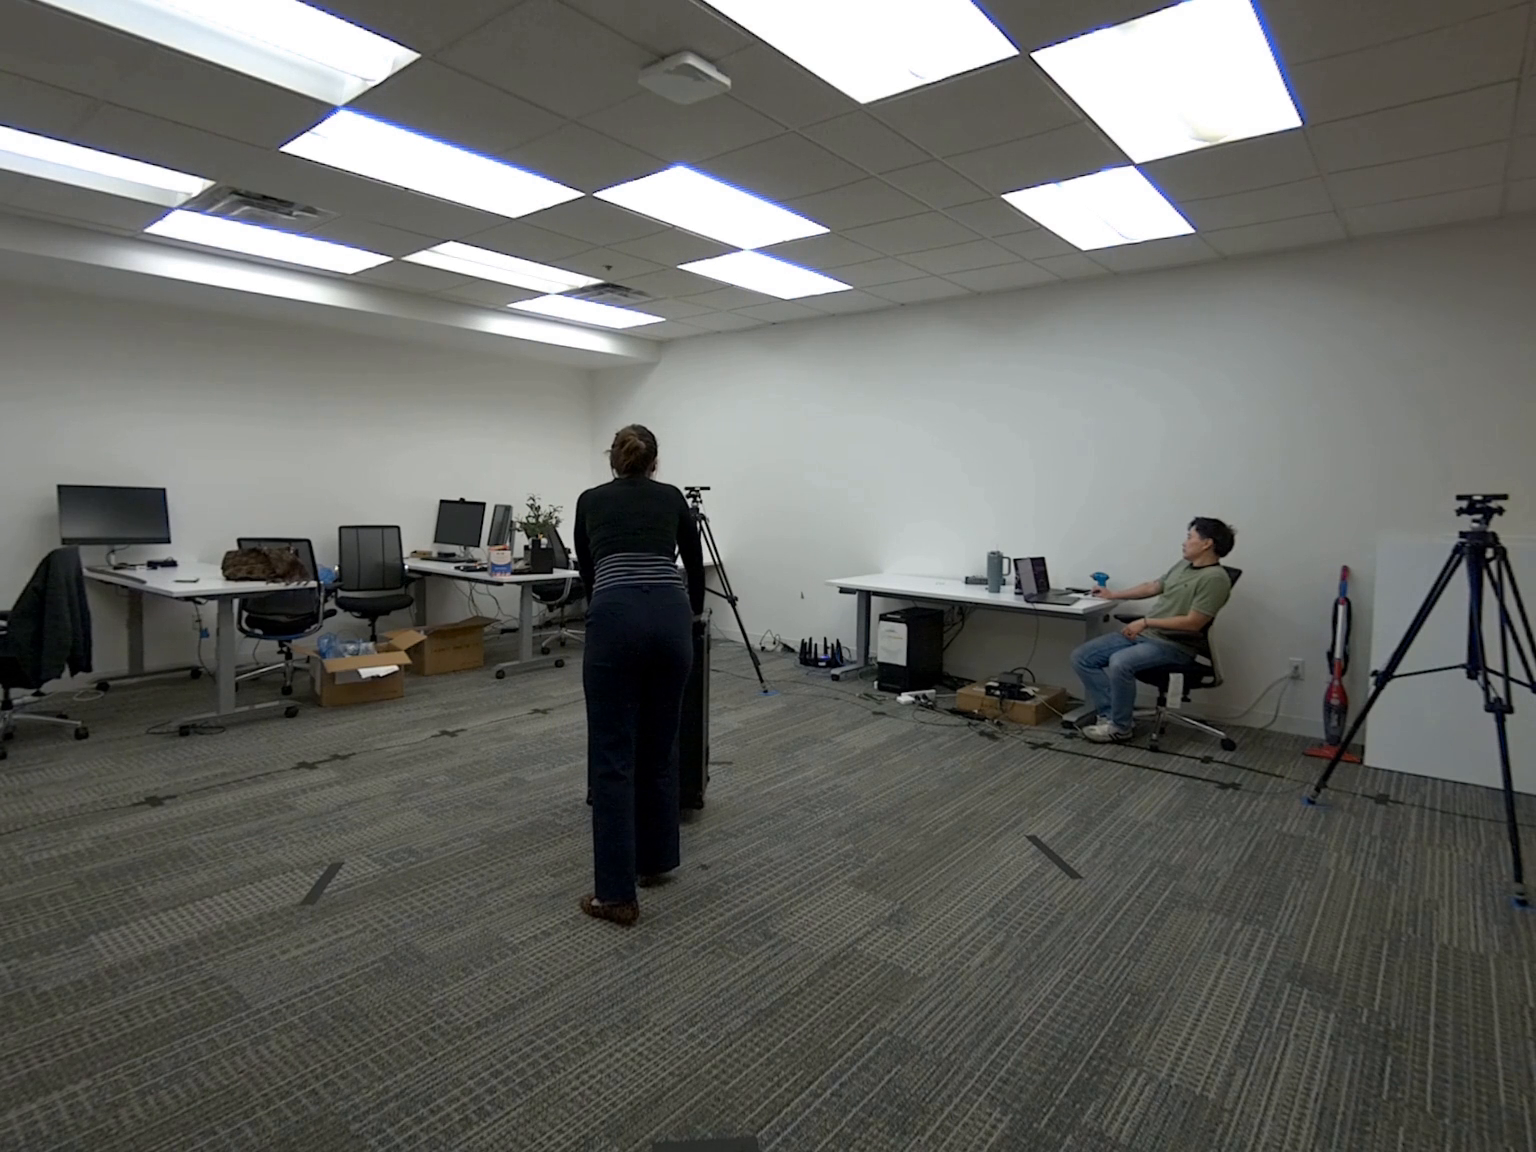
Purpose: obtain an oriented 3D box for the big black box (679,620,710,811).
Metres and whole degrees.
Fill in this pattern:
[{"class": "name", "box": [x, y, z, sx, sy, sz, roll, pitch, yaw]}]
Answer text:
[{"class": "big black box", "box": [-0.507, 0.585, 3.650, 0.523, 0.858, 0.396, 1, 4, 3]}]
